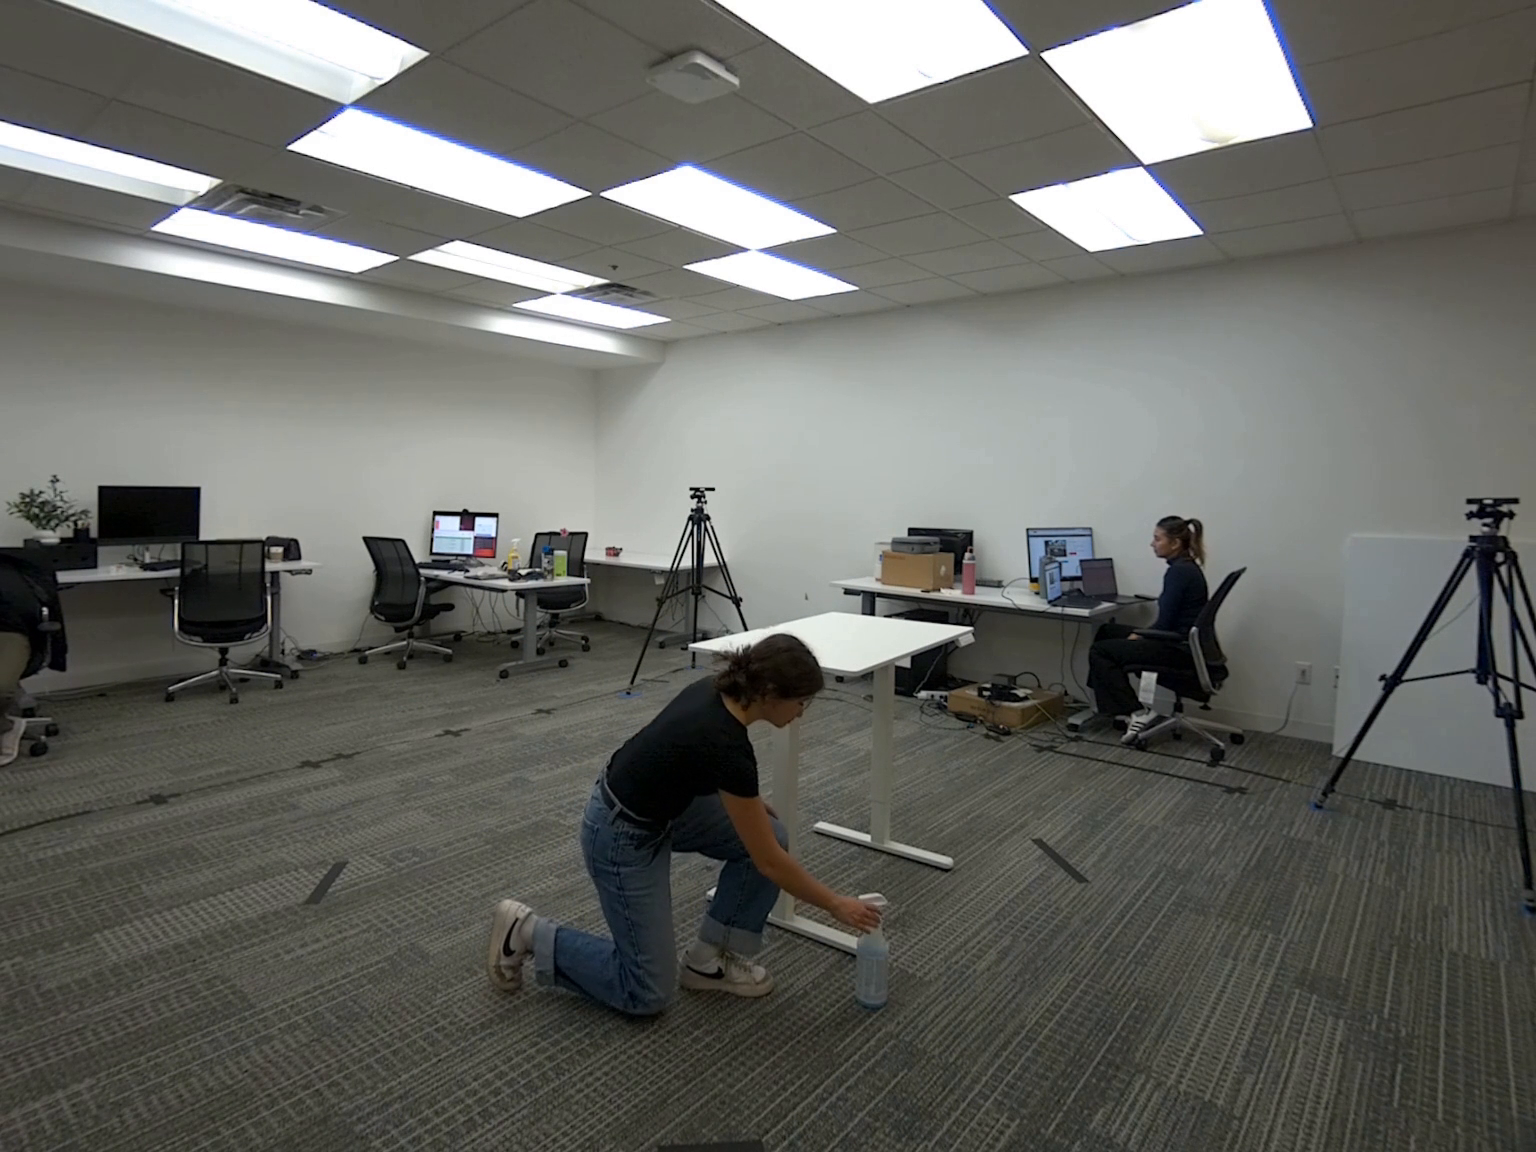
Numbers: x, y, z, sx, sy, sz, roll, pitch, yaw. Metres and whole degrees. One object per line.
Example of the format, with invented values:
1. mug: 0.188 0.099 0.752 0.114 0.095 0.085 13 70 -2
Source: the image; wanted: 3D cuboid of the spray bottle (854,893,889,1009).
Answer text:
1. spray bottle: 0.279 1.015 2.310 0.090 0.296 0.087 0 3 -1
